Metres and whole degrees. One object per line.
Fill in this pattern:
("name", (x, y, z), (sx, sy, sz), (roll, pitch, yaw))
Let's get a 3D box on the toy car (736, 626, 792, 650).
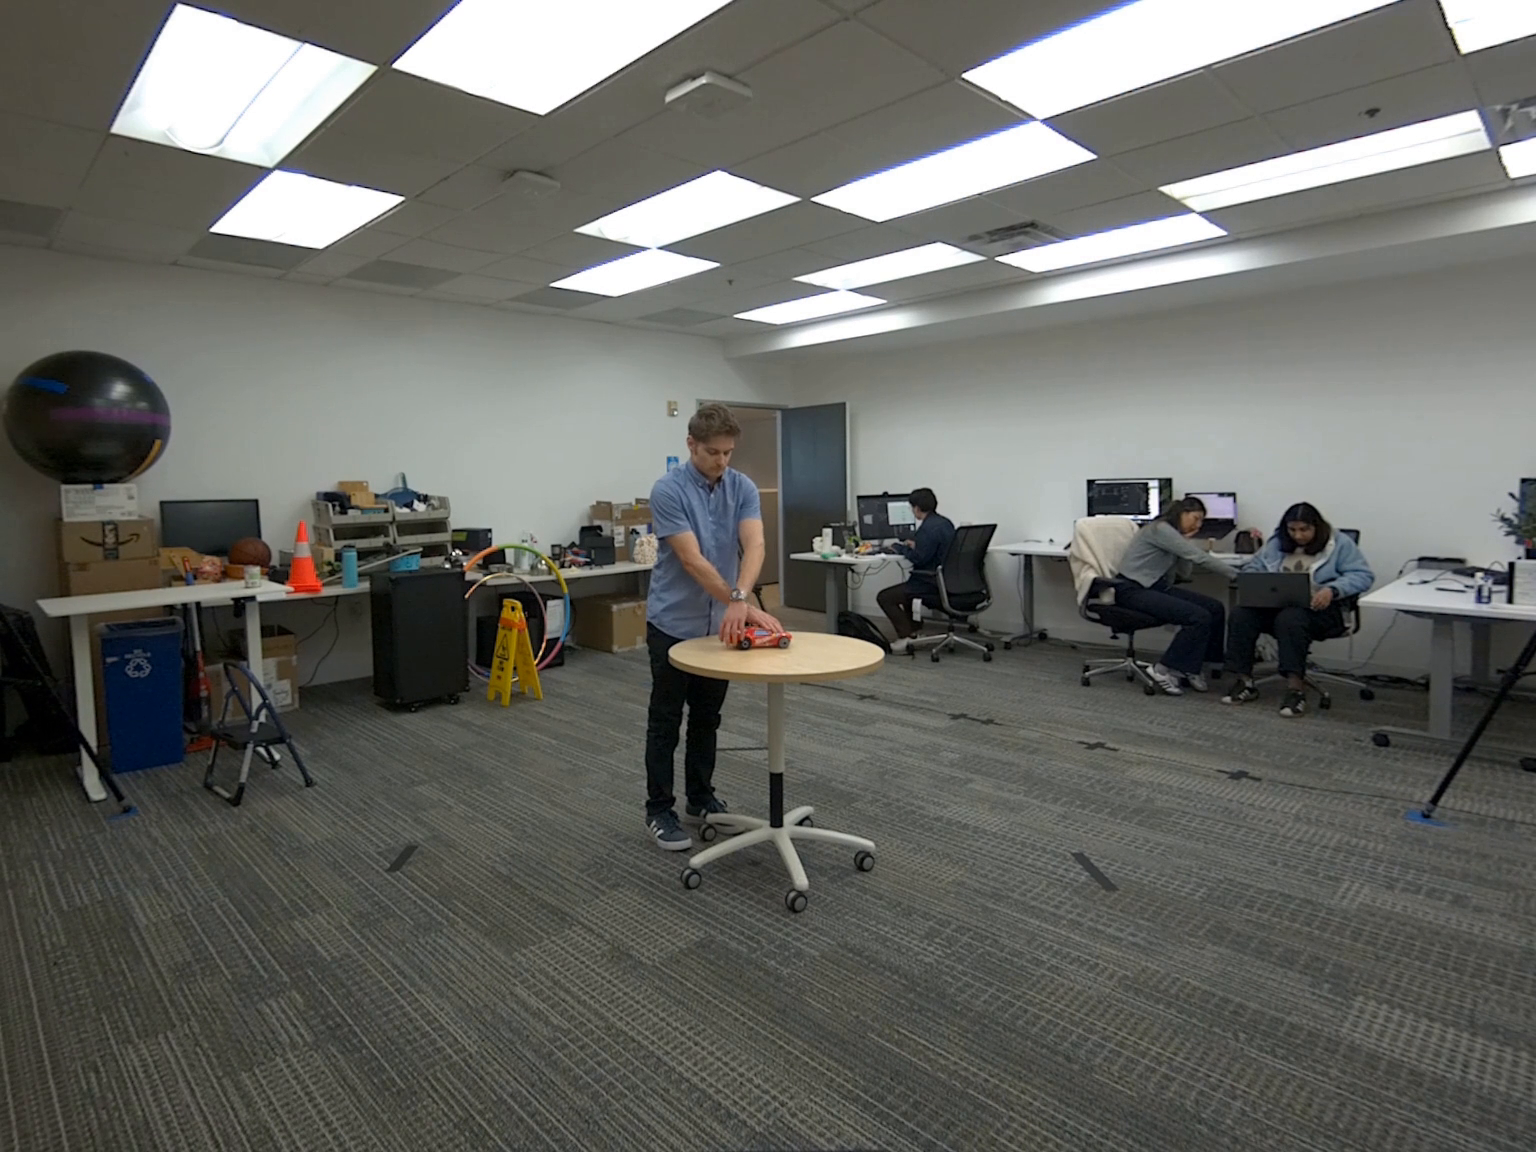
("toy car", (-0.044, 0.228, 3.113), (0.251, 0.083, 0.132), (9, 2, -11))
